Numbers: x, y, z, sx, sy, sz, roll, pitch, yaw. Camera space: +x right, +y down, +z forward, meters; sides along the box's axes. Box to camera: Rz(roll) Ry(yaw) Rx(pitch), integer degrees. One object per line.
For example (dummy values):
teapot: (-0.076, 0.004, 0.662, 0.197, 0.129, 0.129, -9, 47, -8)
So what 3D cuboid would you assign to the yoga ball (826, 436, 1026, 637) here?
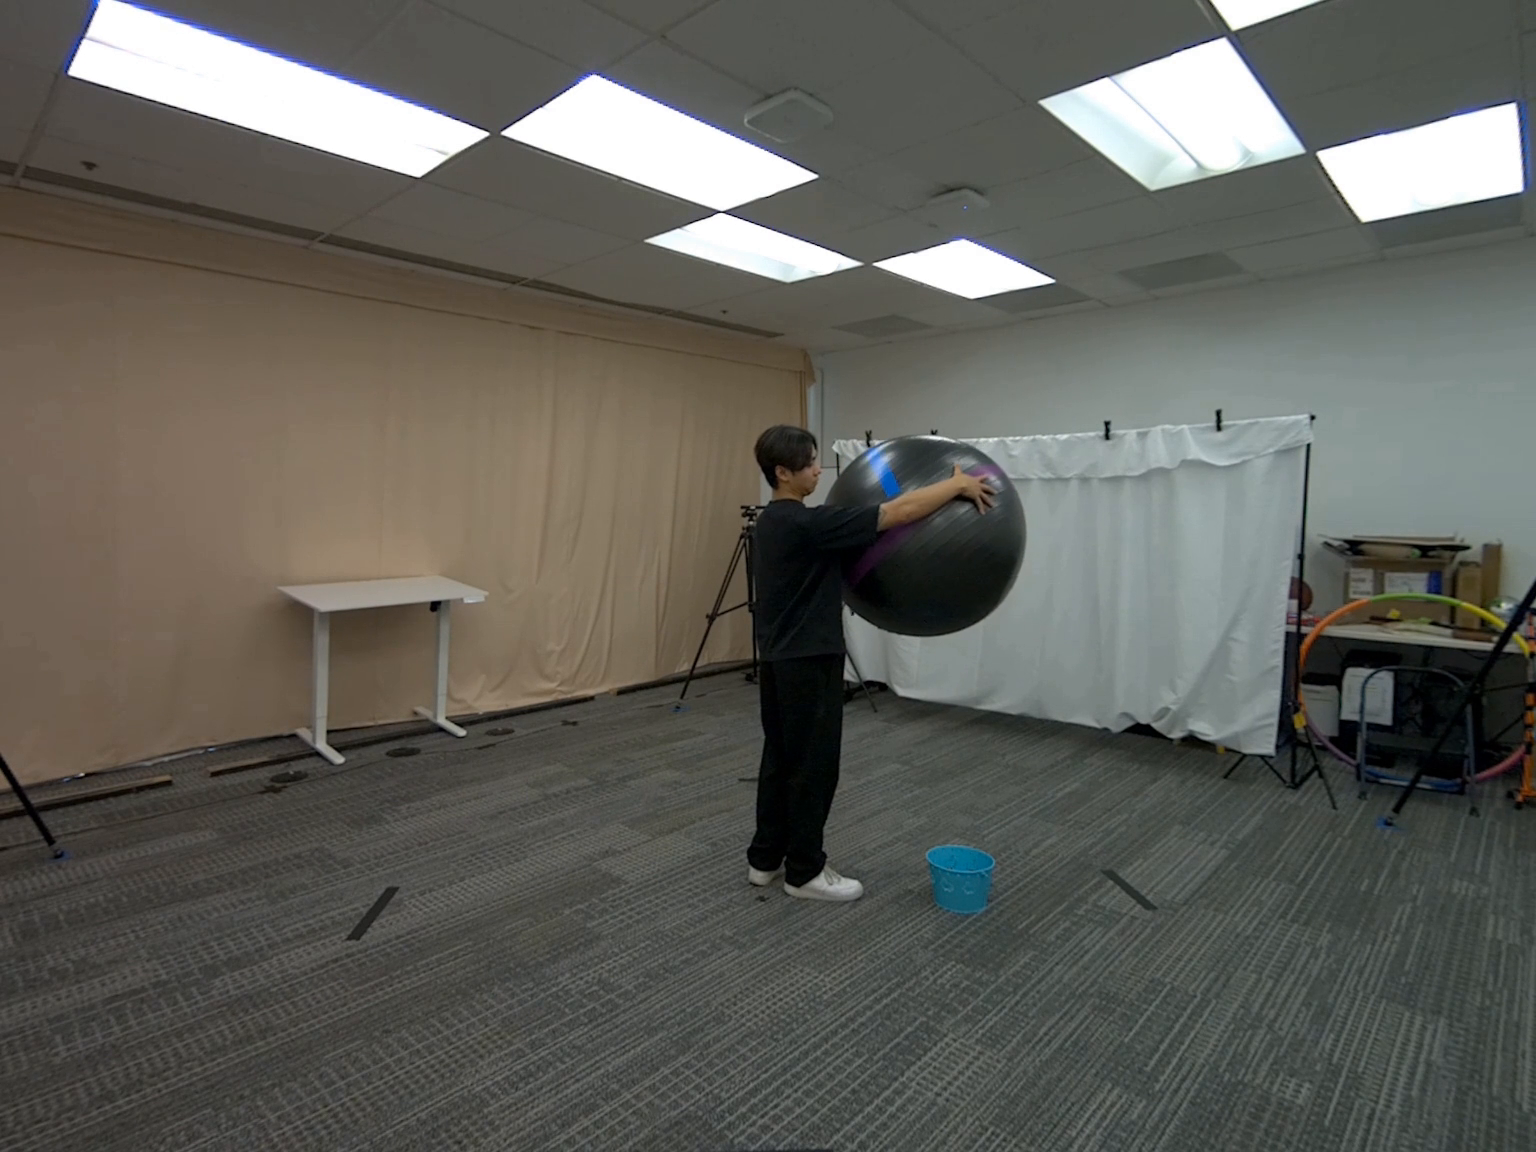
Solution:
yoga ball: (0.584, -0.146, 3.194, 0.757, 0.756, 0.760, 0, 4, -2)
